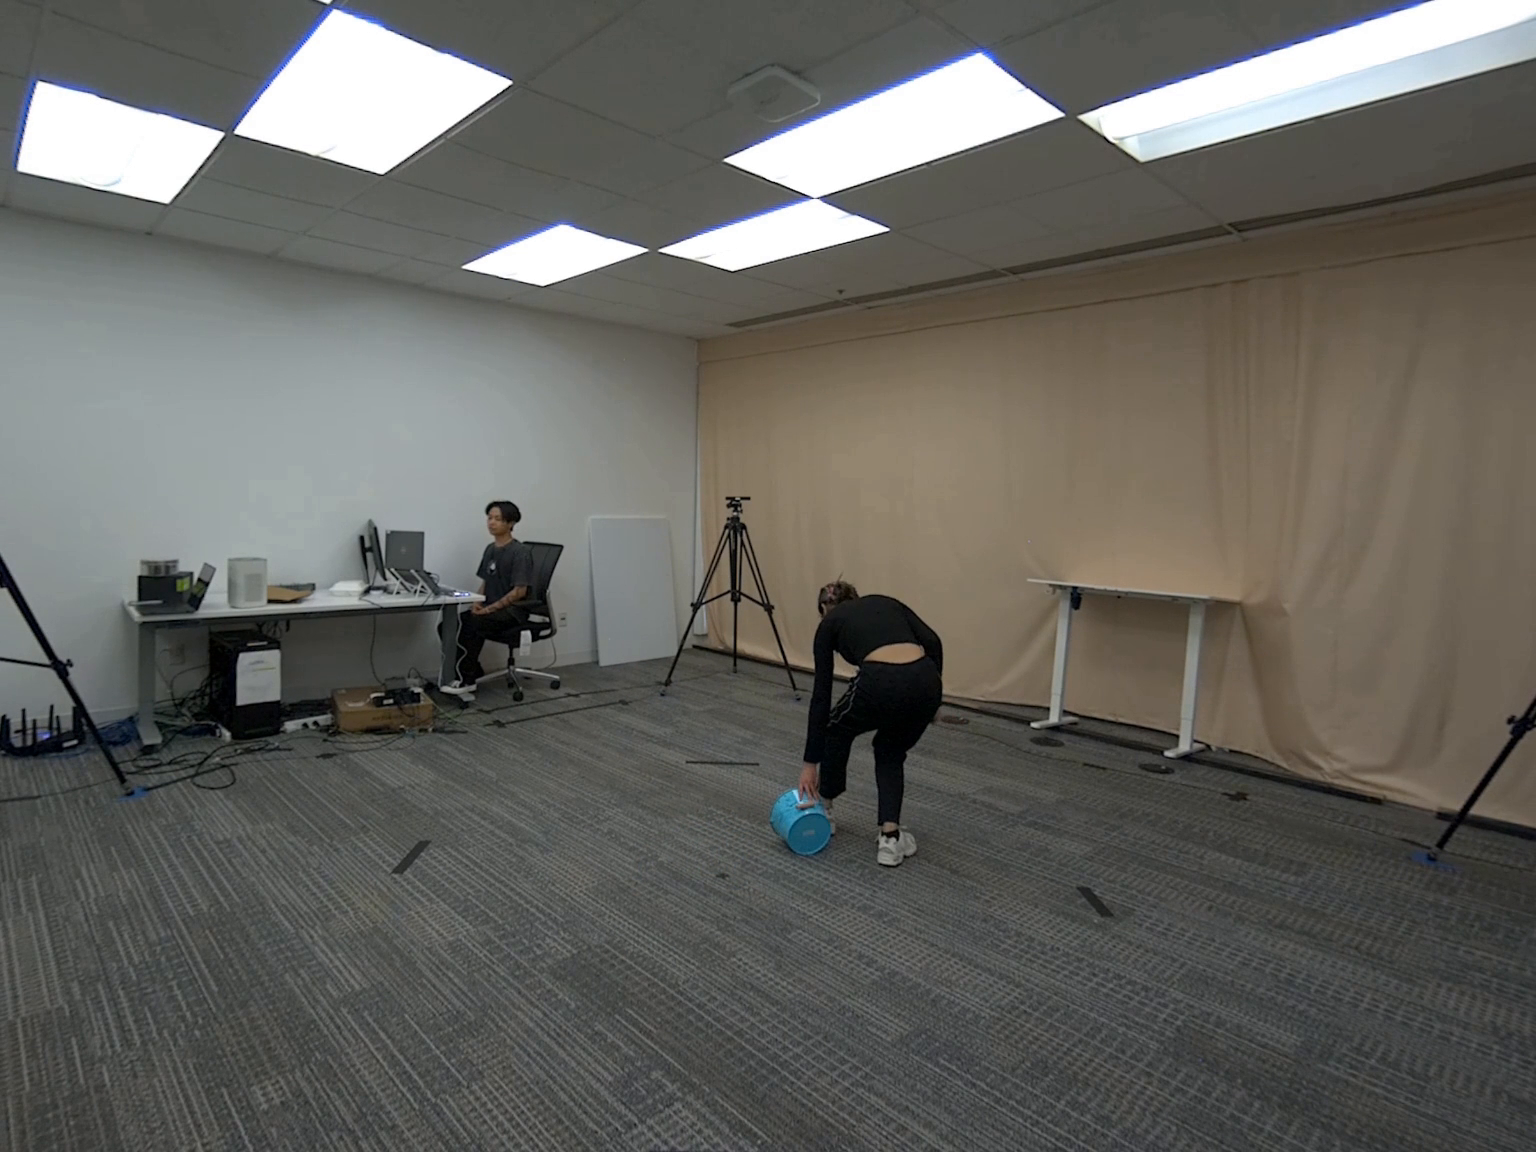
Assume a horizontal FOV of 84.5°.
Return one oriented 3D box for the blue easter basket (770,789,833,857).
[{"bbox_3d":[0.123,0.977,3.361,0.241,0.241,0.159,0,13,-15],"label":"blue easter basket"}]
